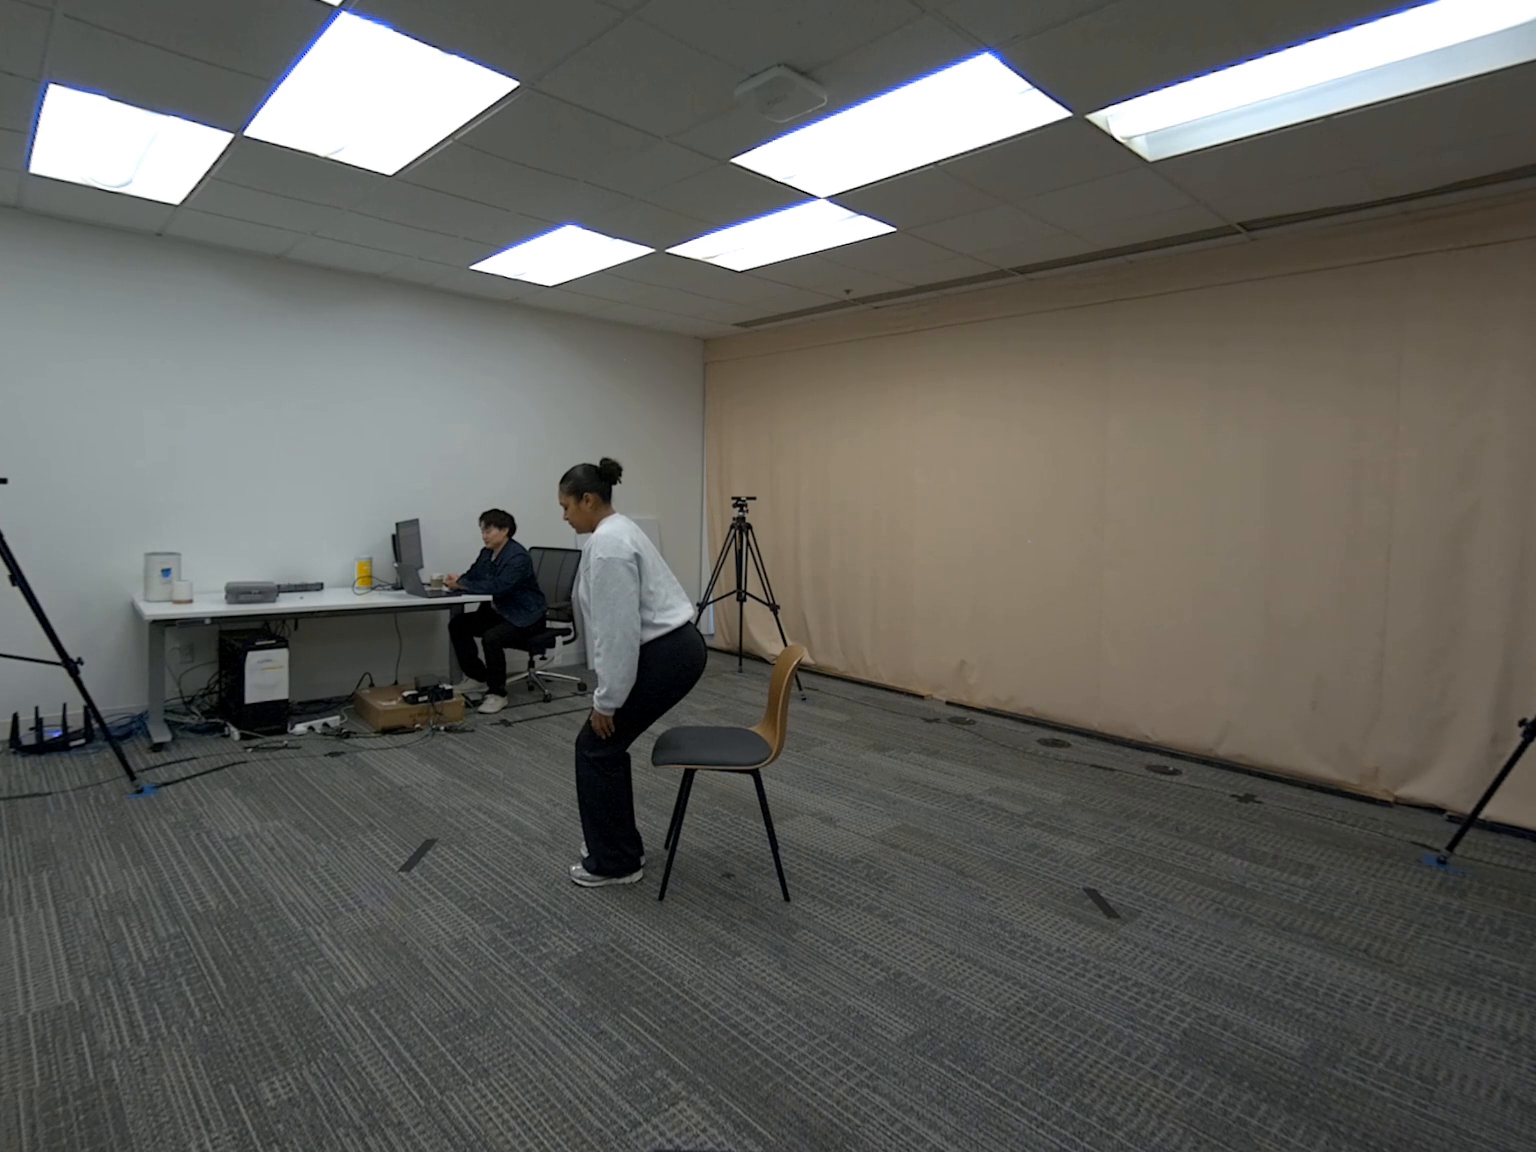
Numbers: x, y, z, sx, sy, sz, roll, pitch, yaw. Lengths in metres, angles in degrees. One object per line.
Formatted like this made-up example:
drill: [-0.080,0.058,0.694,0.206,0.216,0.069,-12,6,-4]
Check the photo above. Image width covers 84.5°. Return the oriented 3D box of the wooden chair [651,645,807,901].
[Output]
wooden chair: [-0.167,0.675,3.089,0.521,0.875,0.481,5,4,-4]
